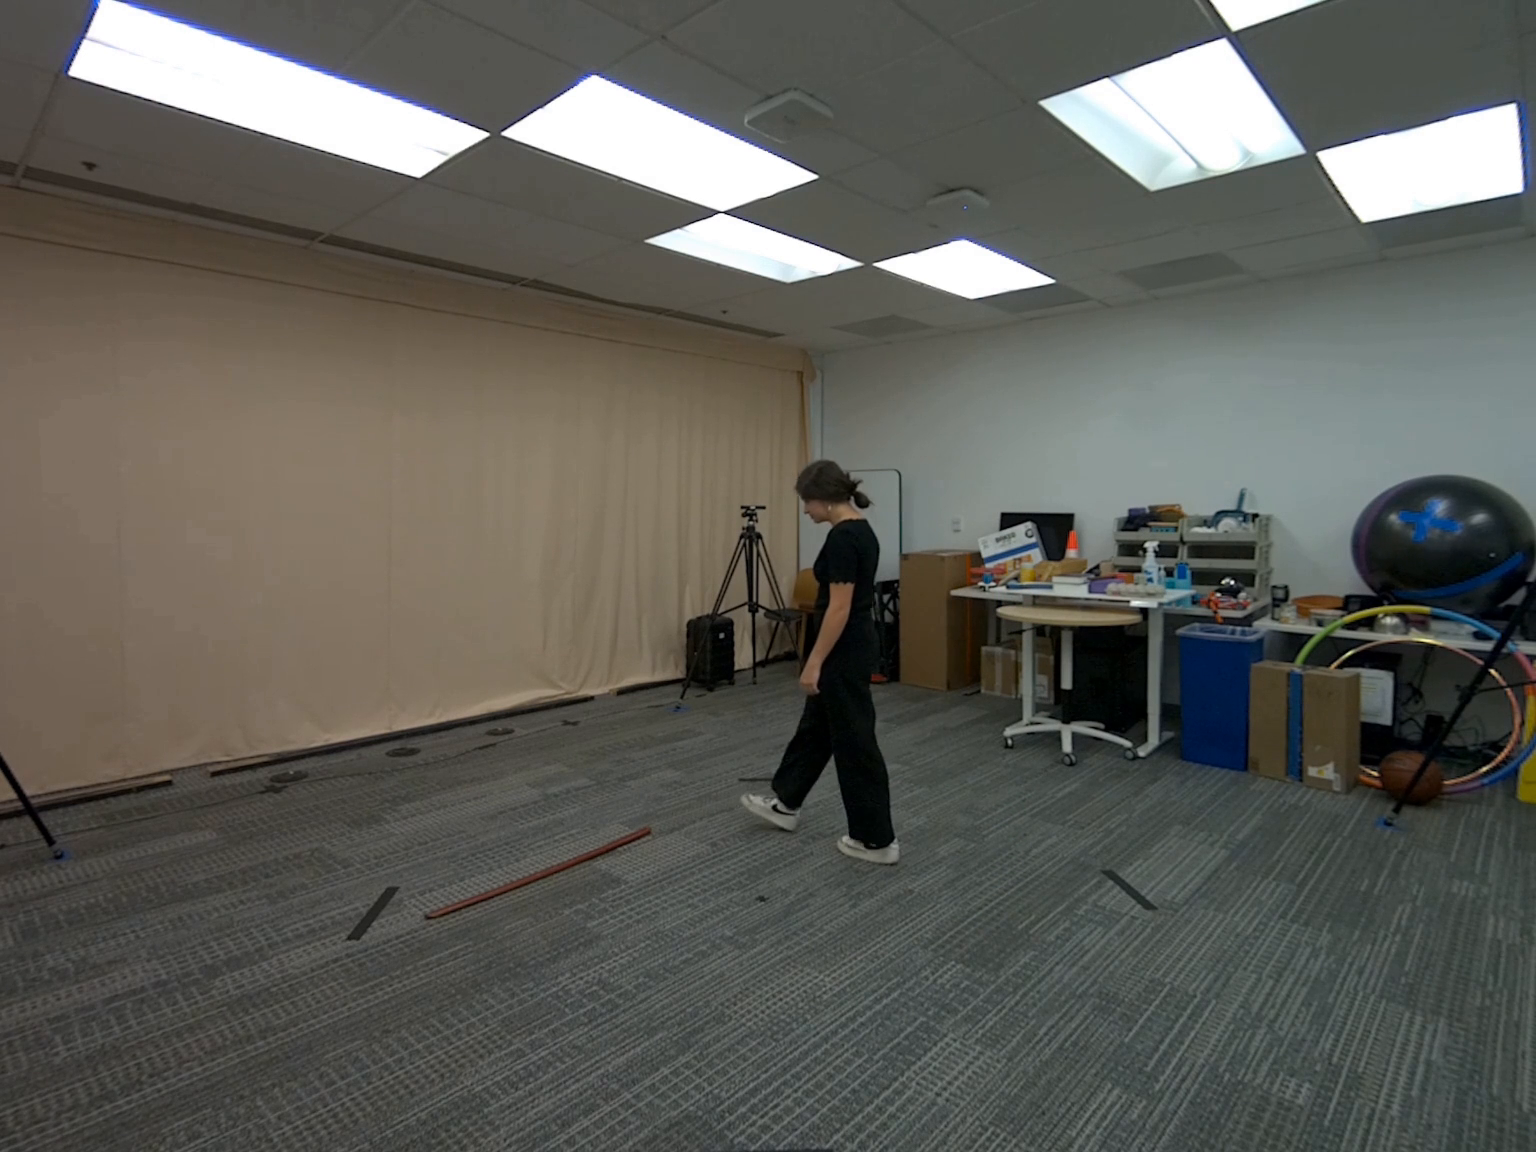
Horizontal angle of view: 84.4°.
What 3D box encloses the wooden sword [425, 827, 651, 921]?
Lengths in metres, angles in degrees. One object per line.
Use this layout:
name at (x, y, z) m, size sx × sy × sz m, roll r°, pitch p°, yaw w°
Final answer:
wooden sword at (-0.815, 1.110, 3.214) m, size 0.053 × 0.024 × 0.994 m, roll 16°, pitch 14°, yaw 38°
